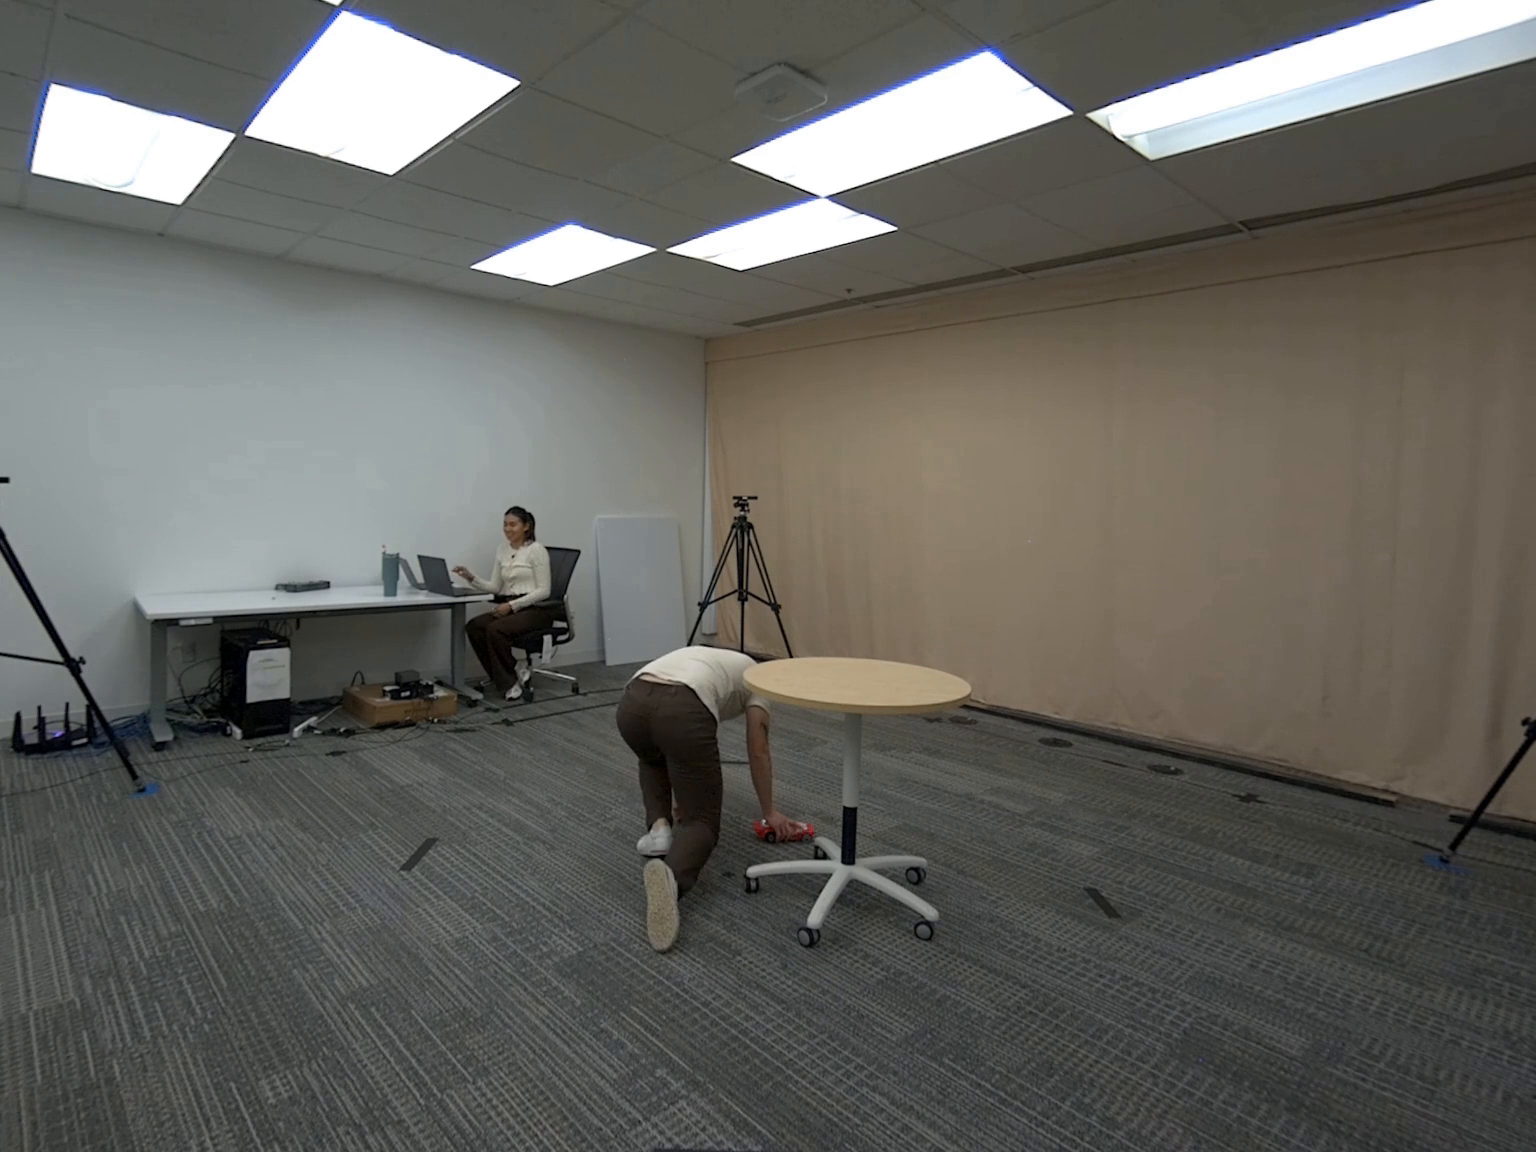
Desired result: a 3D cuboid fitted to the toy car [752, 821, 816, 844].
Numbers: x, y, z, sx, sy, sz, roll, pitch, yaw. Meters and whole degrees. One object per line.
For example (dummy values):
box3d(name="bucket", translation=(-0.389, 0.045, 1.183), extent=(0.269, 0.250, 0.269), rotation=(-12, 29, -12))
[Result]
box3d(name="toy car", translation=(0.049, 1.044, 3.466), extent=(0.253, 0.083, 0.131), rotation=(13, 4, -4))
